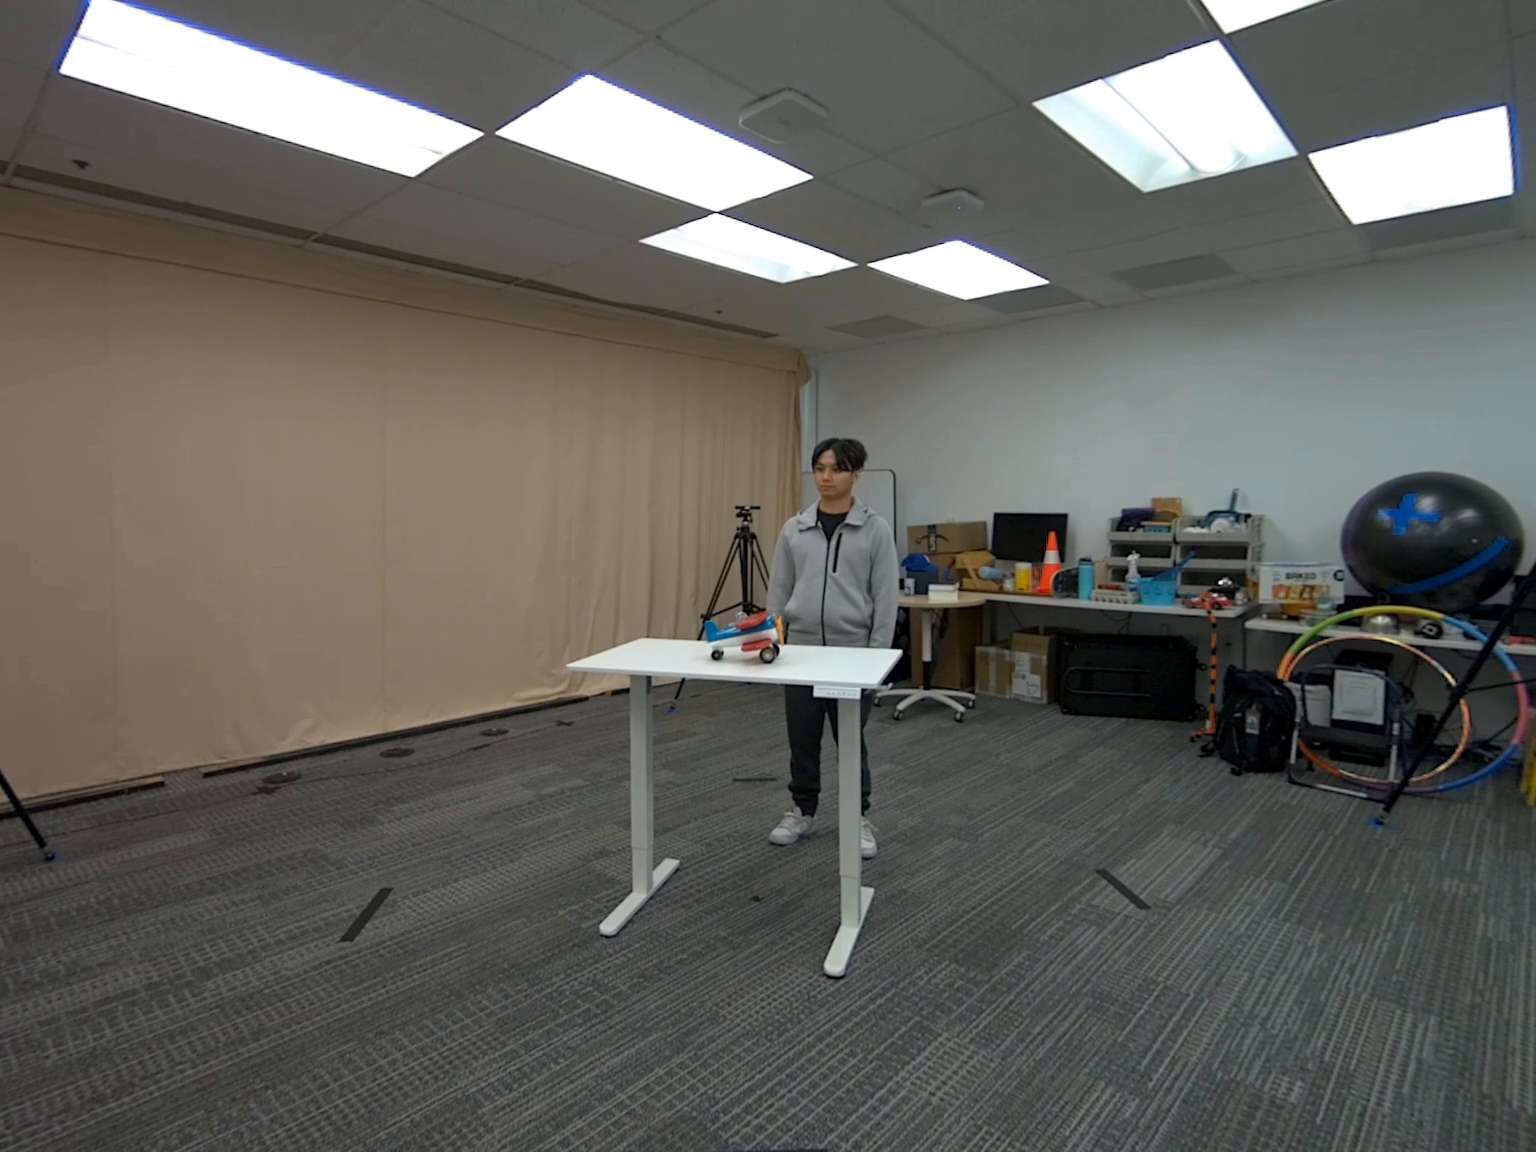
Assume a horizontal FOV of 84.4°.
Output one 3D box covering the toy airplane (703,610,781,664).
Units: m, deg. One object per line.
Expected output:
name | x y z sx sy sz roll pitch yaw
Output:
toy airplane | -0.073 0.205 2.762 0.254 0.156 0.256 -2 3 -18
